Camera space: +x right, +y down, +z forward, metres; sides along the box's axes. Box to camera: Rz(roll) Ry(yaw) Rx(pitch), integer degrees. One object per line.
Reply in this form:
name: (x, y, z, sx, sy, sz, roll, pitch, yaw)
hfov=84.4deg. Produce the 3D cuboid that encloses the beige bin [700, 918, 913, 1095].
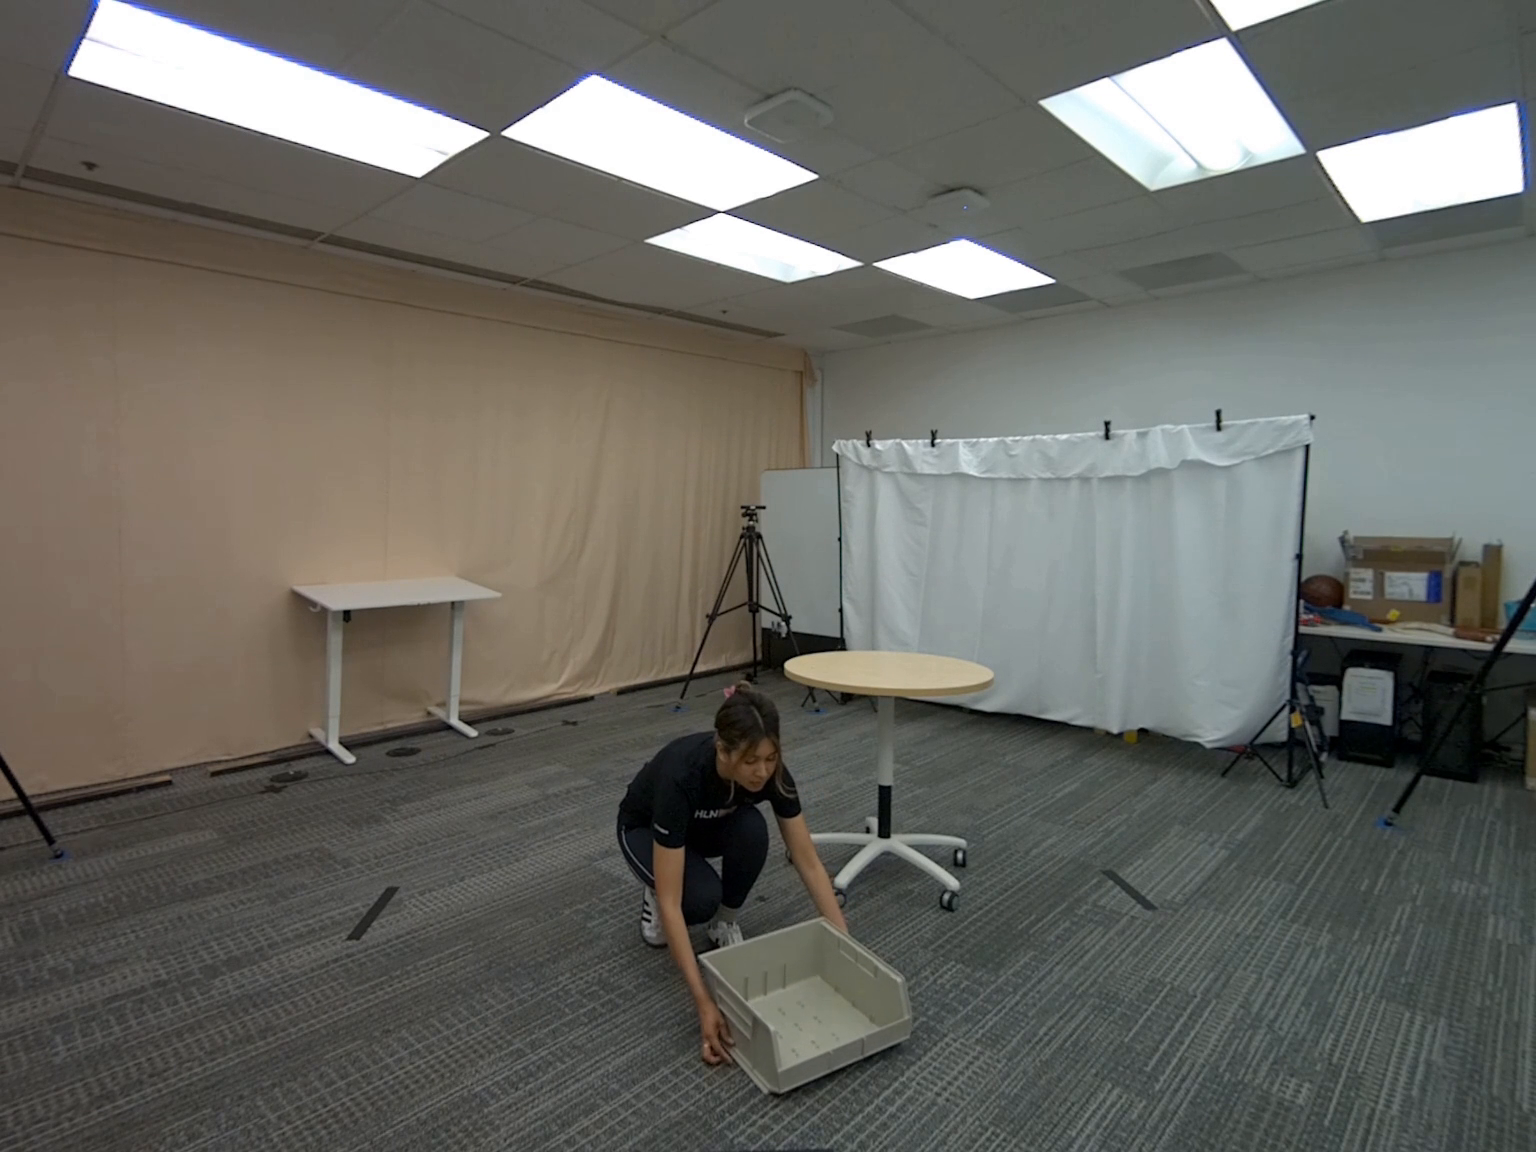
beige bin: (0.103, 1.121, 2.187, 0.411, 0.188, 0.389, -3, 6, -31)
